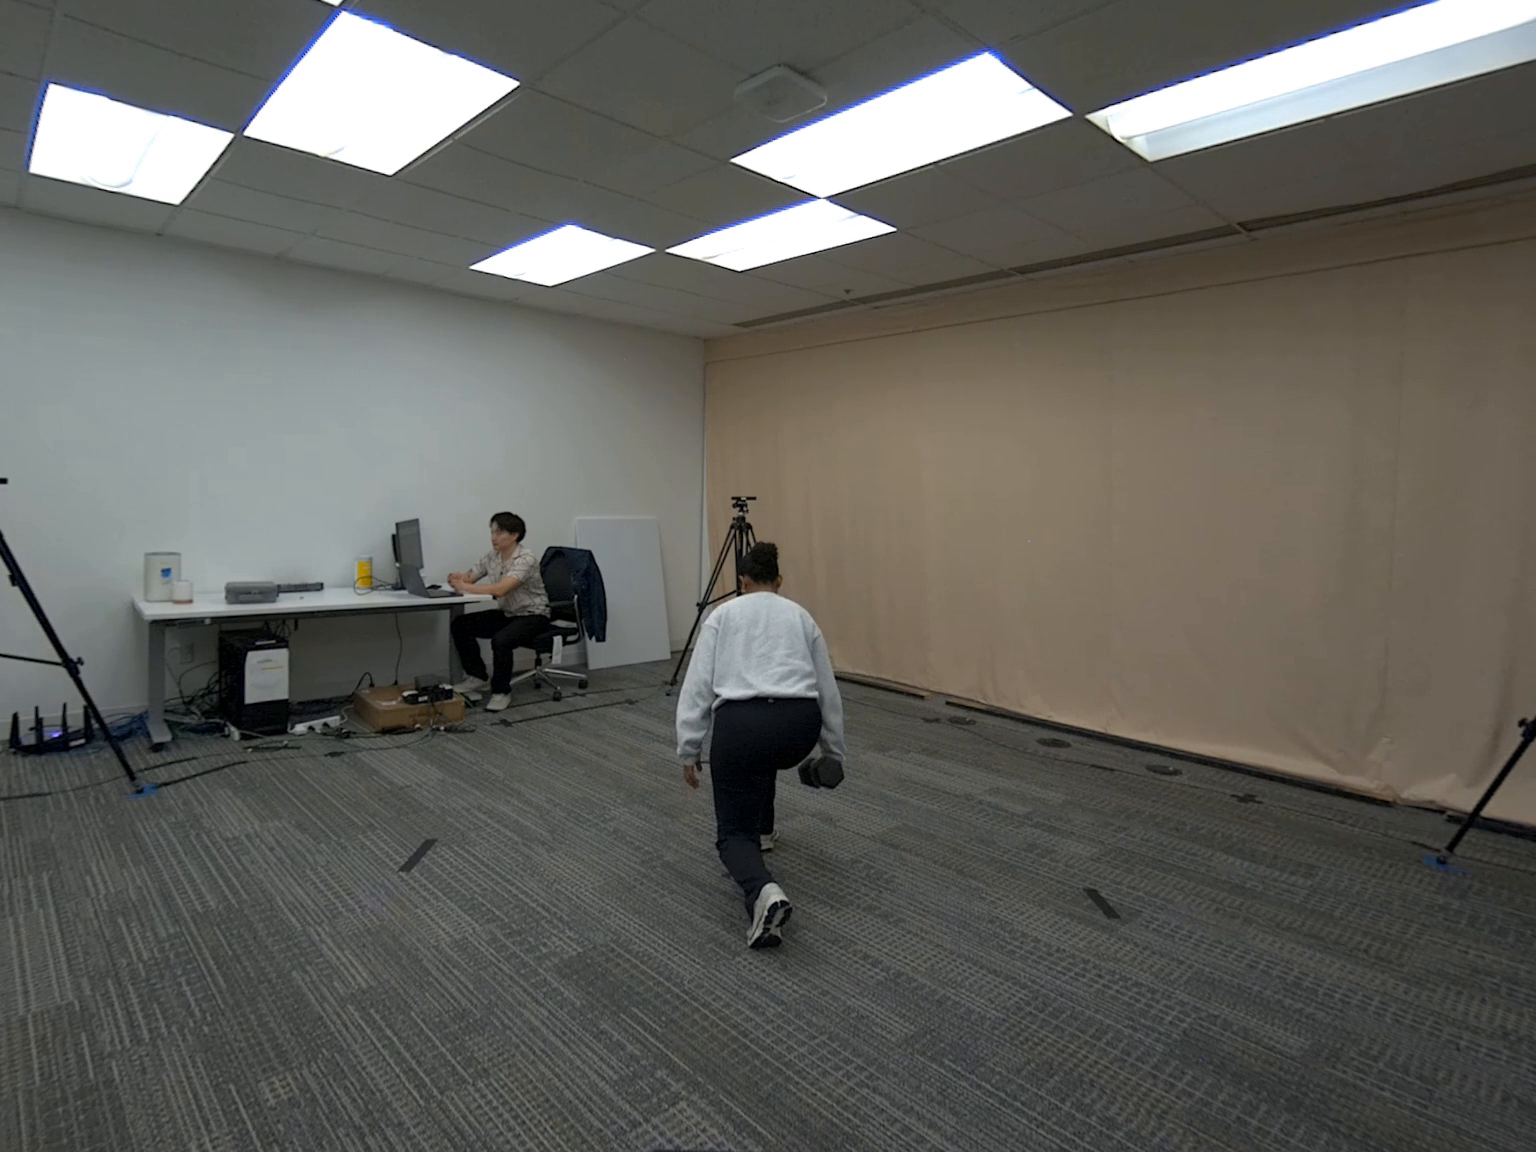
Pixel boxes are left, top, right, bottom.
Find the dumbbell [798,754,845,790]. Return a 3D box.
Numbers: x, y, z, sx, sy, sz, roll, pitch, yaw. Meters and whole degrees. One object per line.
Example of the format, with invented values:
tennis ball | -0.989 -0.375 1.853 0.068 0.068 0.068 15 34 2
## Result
dumbbell | 0.195 0.751 3.271 0.108 0.124 0.293 -11 -9 -14
